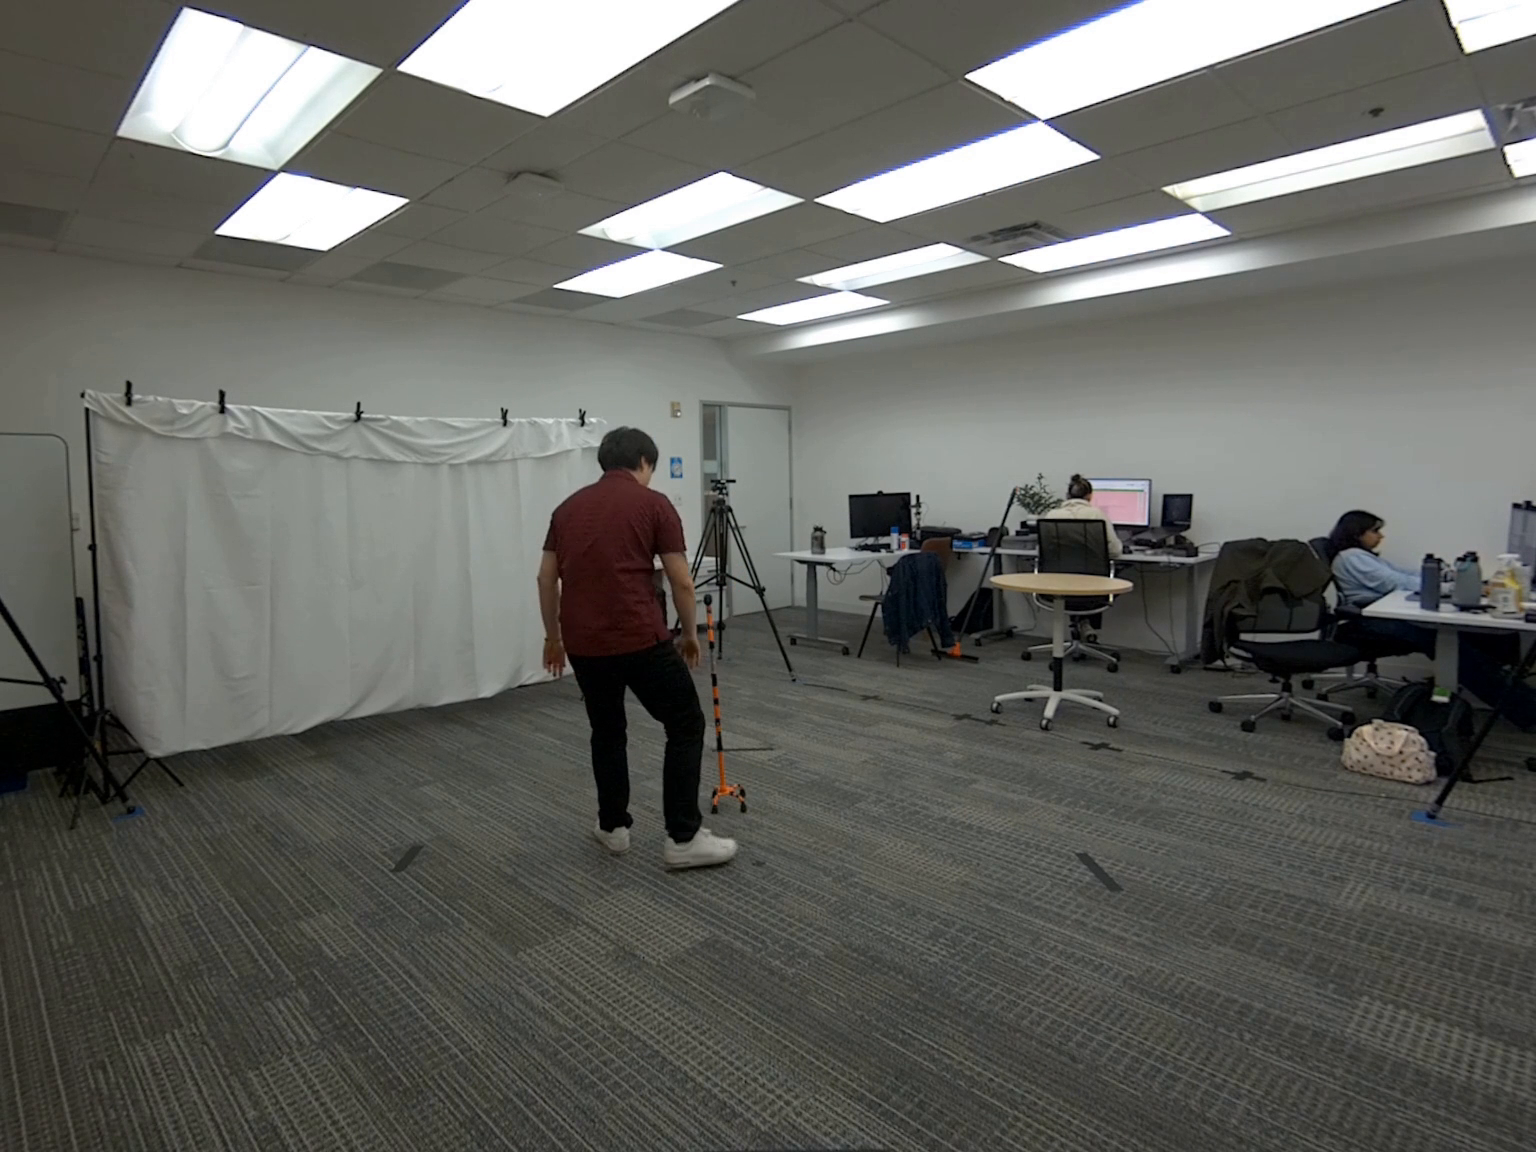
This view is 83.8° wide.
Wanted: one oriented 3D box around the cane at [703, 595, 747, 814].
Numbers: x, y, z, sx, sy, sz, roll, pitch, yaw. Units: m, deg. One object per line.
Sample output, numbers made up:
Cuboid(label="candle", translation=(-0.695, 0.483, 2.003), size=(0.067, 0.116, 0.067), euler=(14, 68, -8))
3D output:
Cuboid(label="cane", translation=(-0.201, 0.536, 3.660), size=(0.151, 0.905, 0.207), euler=(-4, 3, -2))
